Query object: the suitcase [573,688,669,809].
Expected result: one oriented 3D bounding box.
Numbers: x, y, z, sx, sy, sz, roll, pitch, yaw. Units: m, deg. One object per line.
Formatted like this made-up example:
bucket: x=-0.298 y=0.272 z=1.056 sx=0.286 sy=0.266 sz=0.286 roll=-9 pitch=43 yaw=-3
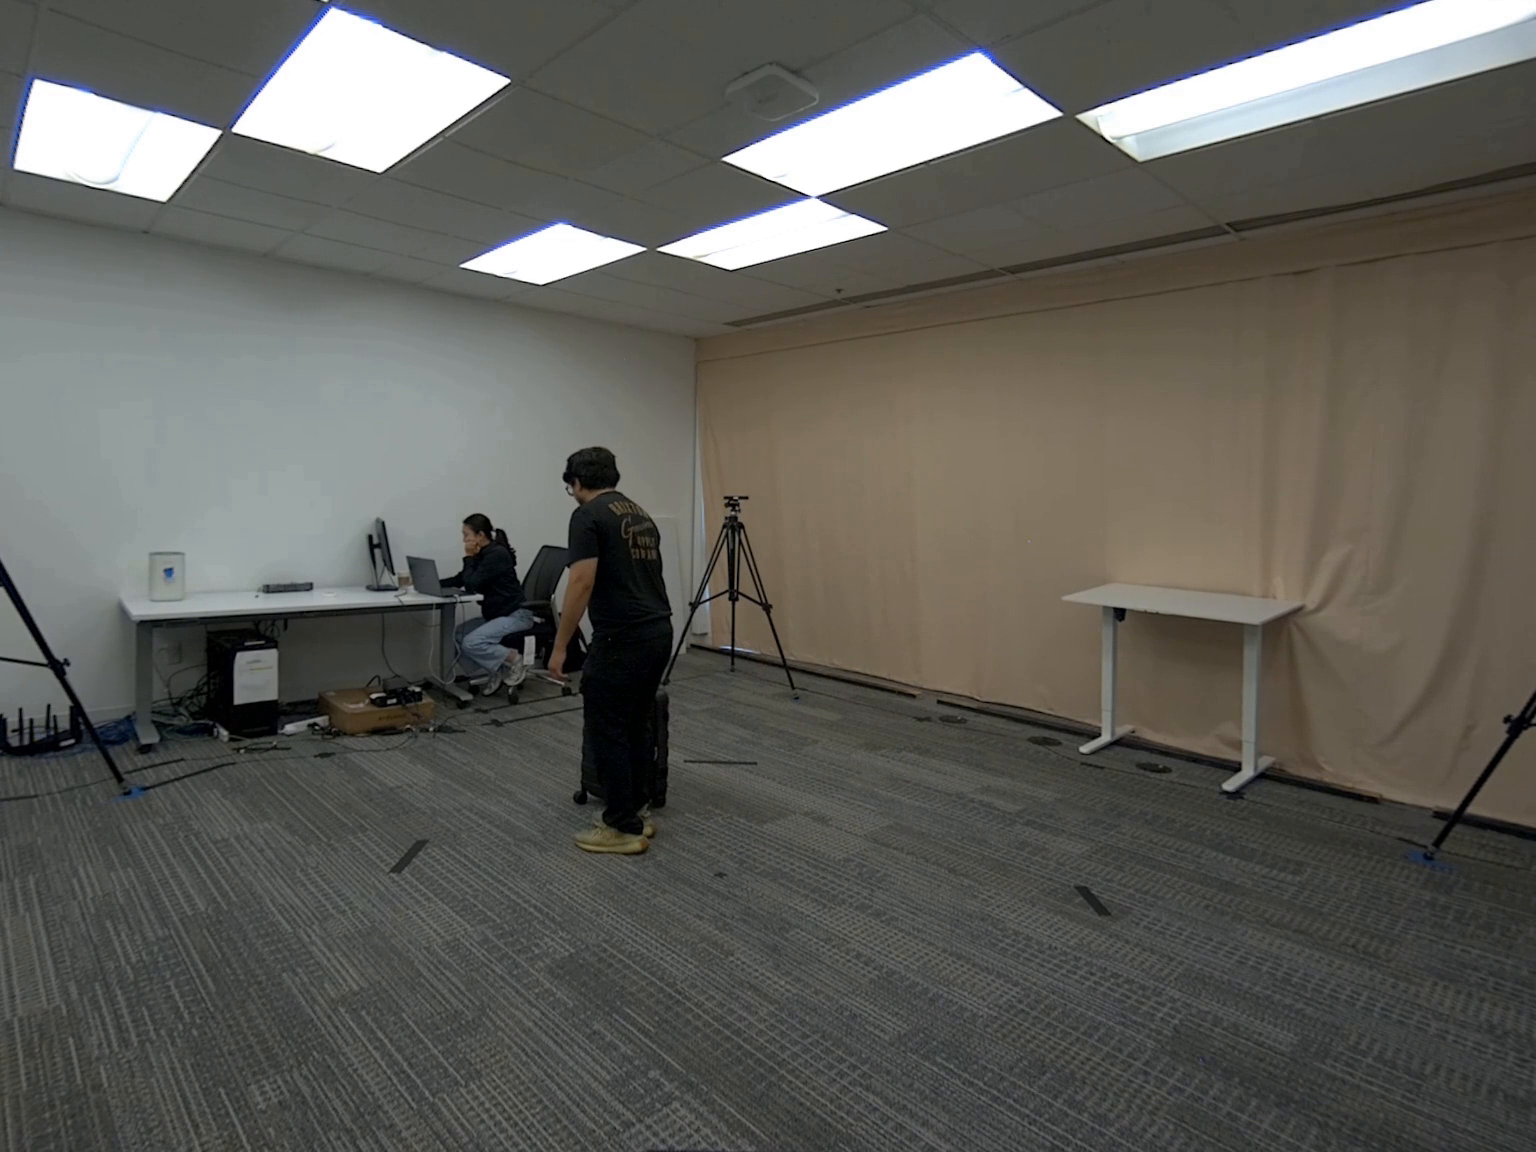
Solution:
suitcase: x=-0.650 y=0.759 z=3.795 sx=0.385 sy=0.548 sz=0.242 roll=6 pitch=3 yaw=36
